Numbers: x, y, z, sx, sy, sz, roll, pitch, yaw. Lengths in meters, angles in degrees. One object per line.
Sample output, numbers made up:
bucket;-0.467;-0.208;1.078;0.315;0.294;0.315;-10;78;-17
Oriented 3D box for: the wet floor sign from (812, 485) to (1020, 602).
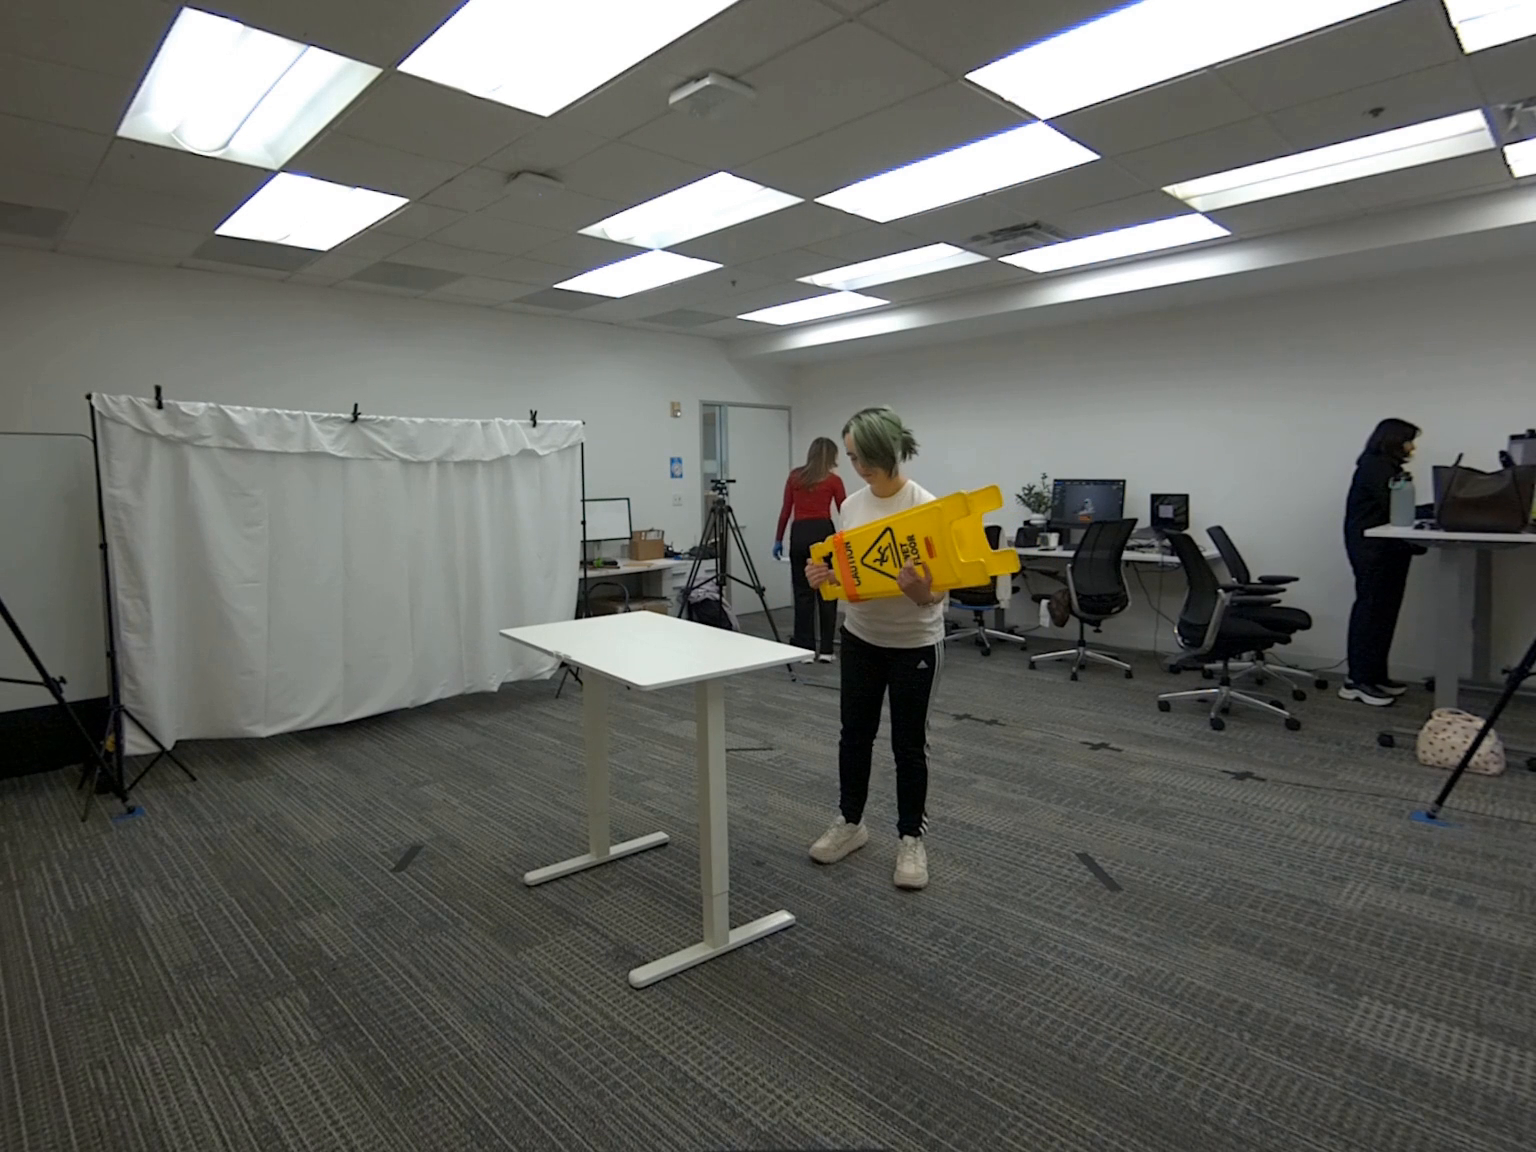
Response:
wet floor sign;0.422;-0.066;2.739;0.659;0.283;0.283;-14;-1;37
